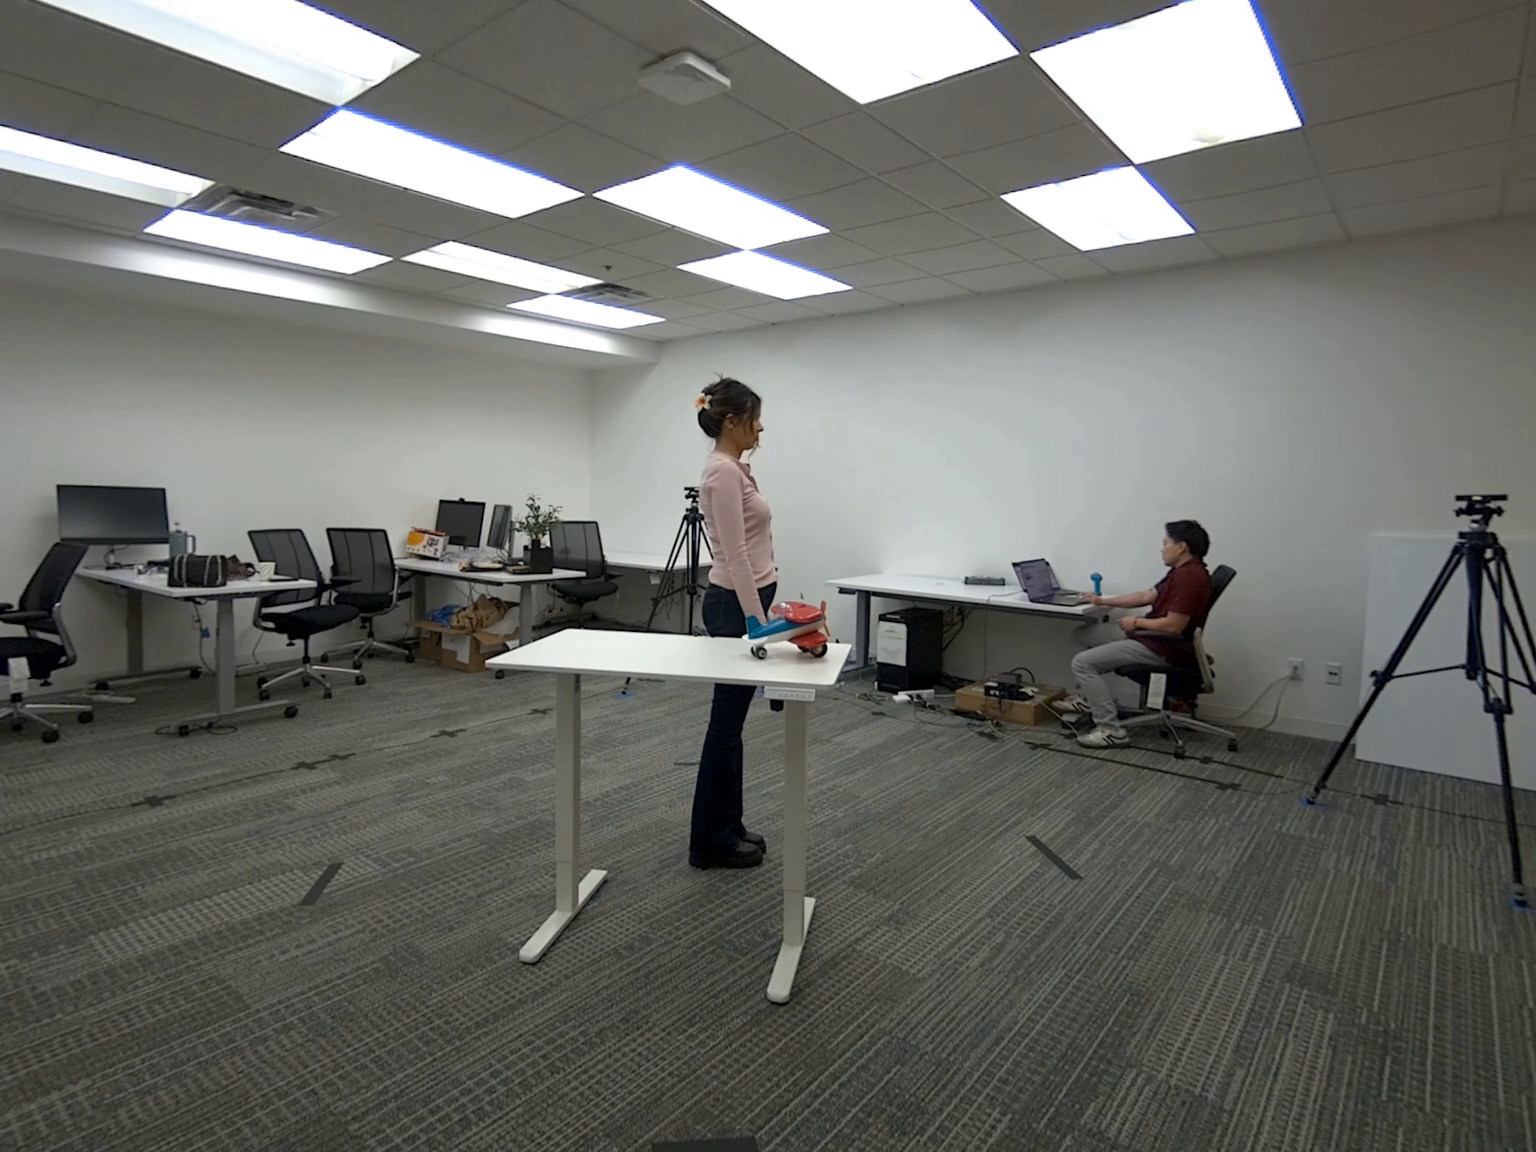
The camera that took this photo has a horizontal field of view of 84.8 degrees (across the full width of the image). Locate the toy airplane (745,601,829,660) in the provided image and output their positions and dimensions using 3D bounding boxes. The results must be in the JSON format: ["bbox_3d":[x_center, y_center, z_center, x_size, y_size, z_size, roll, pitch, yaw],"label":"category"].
[{"bbox_3d":[0.060,0.164,2.564,0.260,0.156,0.251,7,5,42],"label":"toy airplane"}]
